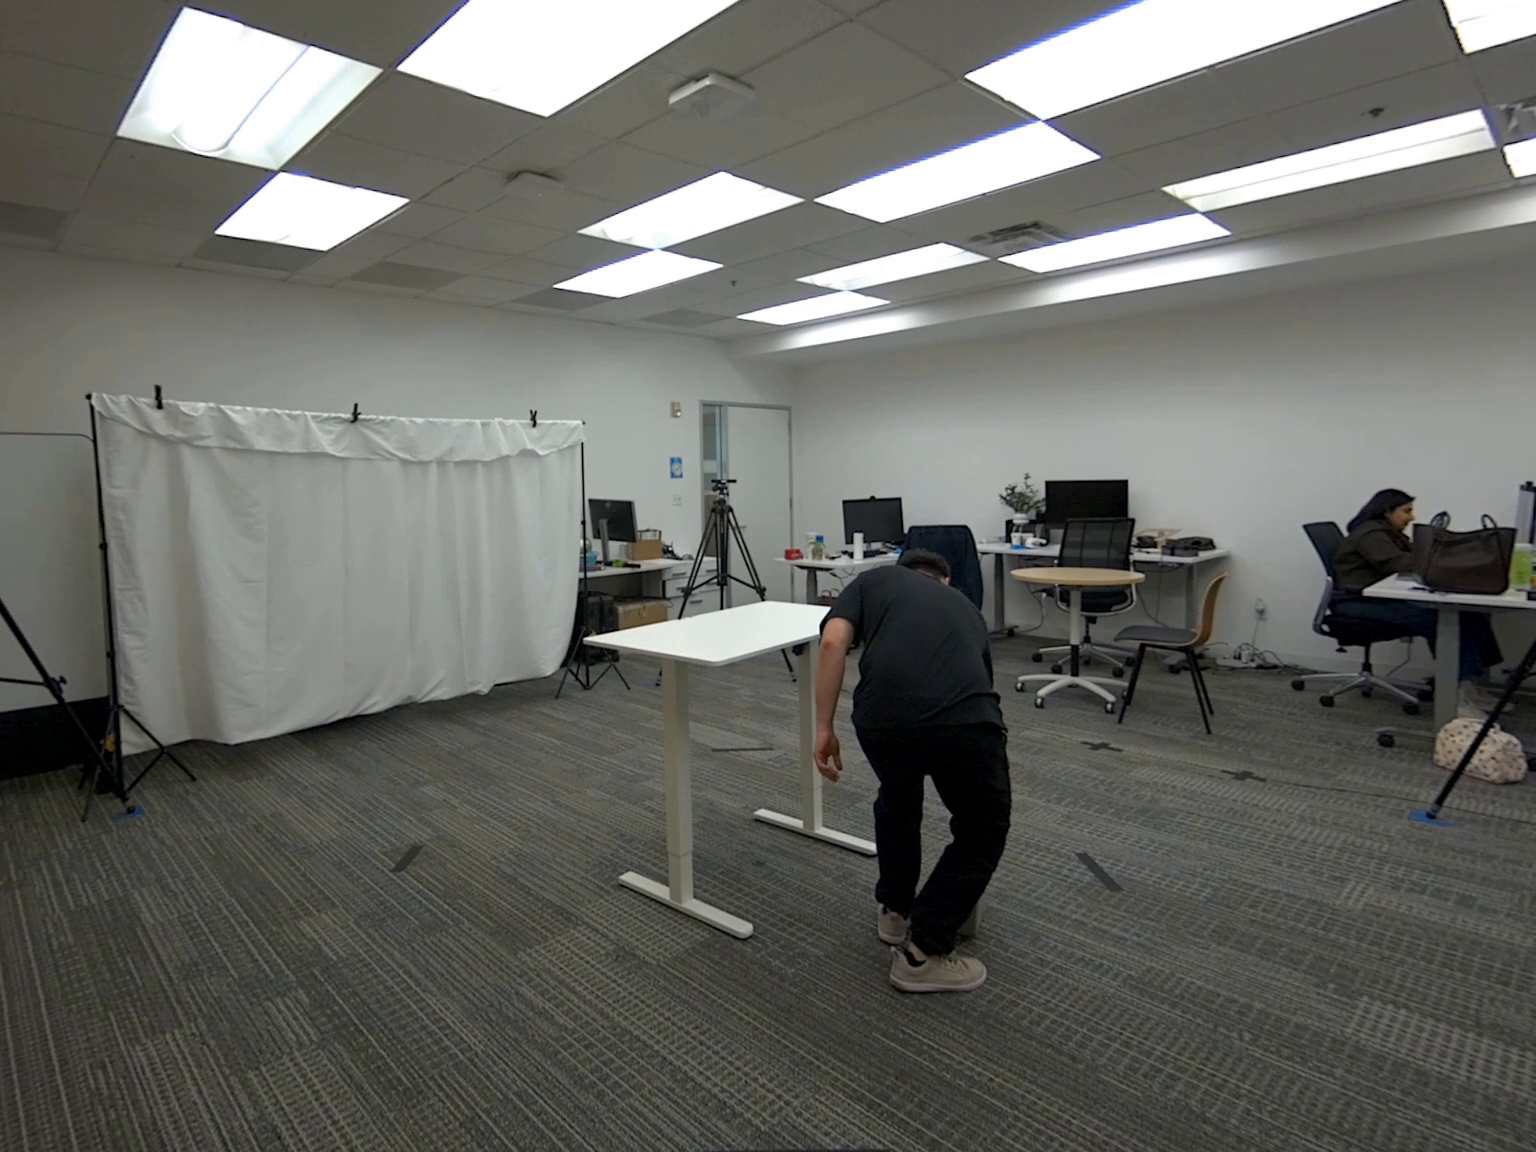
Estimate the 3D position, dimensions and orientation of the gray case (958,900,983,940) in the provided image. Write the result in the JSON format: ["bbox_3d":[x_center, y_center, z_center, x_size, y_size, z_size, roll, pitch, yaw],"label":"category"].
[{"bbox_3d":[0.629,0.934,2.671,0.107,0.259,0.252,4,6,22],"label":"gray case"}]
